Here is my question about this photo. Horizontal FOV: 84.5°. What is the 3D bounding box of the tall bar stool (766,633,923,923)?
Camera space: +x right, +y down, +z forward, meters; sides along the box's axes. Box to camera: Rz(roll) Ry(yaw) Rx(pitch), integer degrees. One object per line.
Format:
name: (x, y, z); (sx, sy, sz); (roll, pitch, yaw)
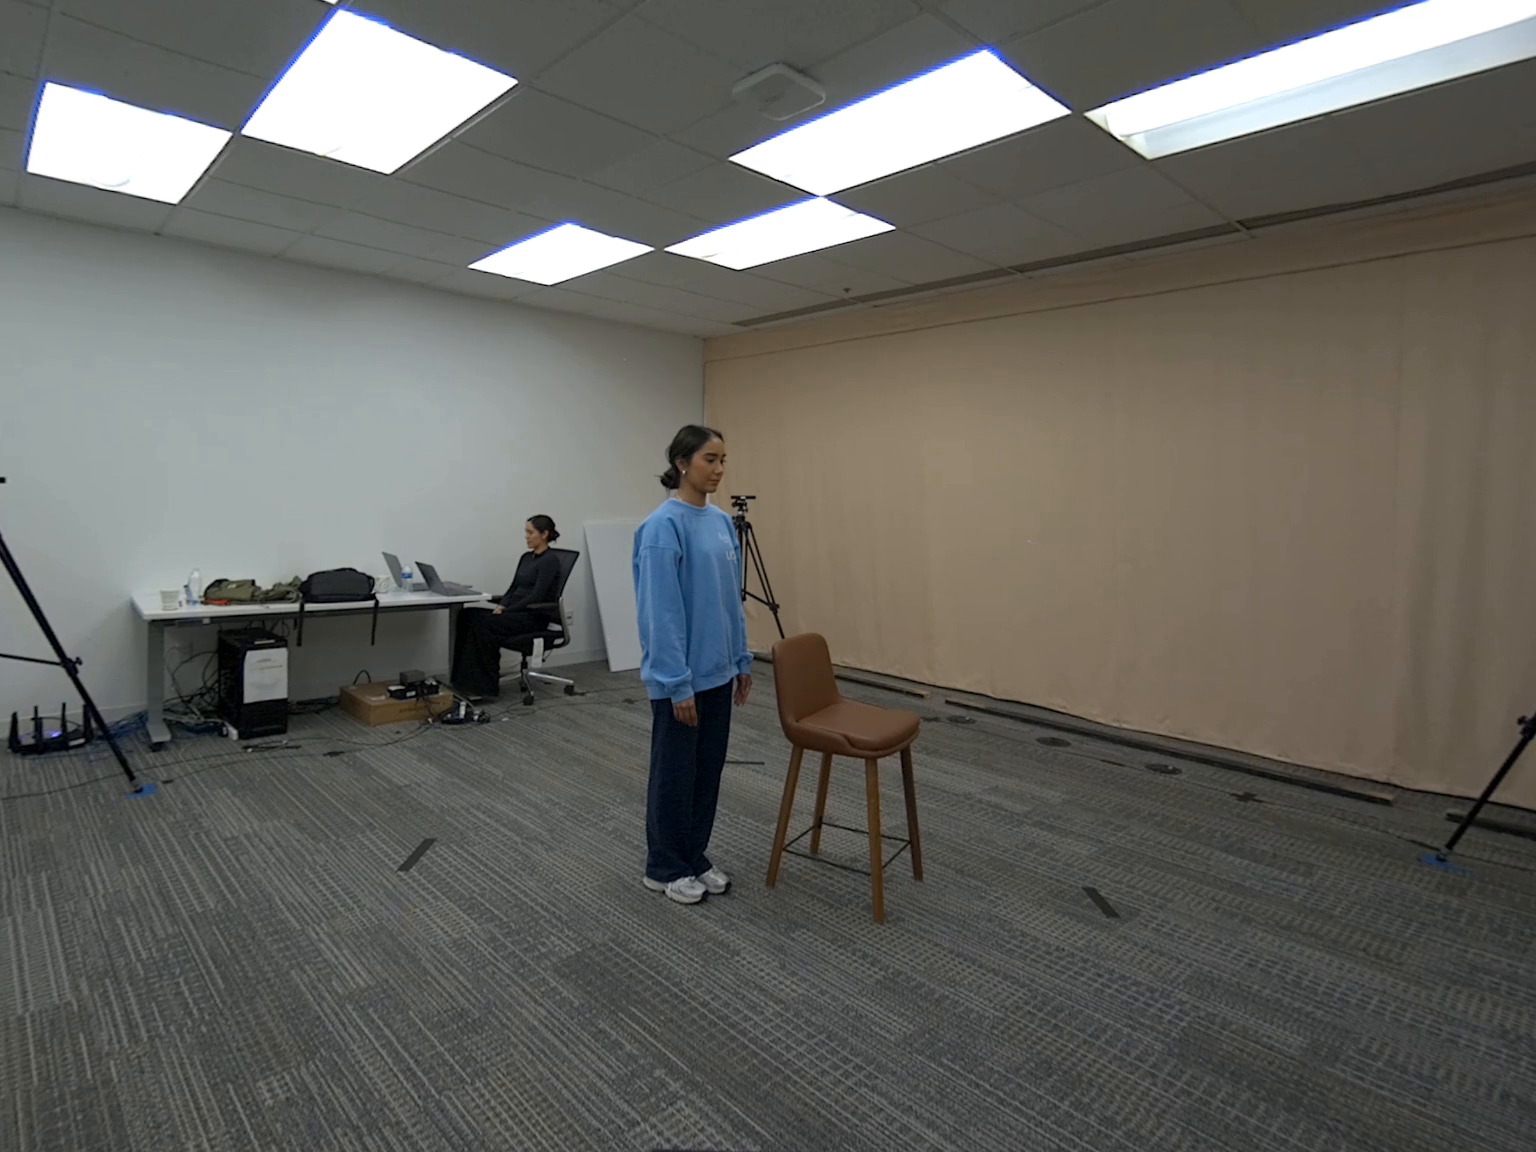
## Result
tall bar stool: (0.279, 0.681, 3.037); (0.478, 0.888, 0.447); (1, 2, 32)
